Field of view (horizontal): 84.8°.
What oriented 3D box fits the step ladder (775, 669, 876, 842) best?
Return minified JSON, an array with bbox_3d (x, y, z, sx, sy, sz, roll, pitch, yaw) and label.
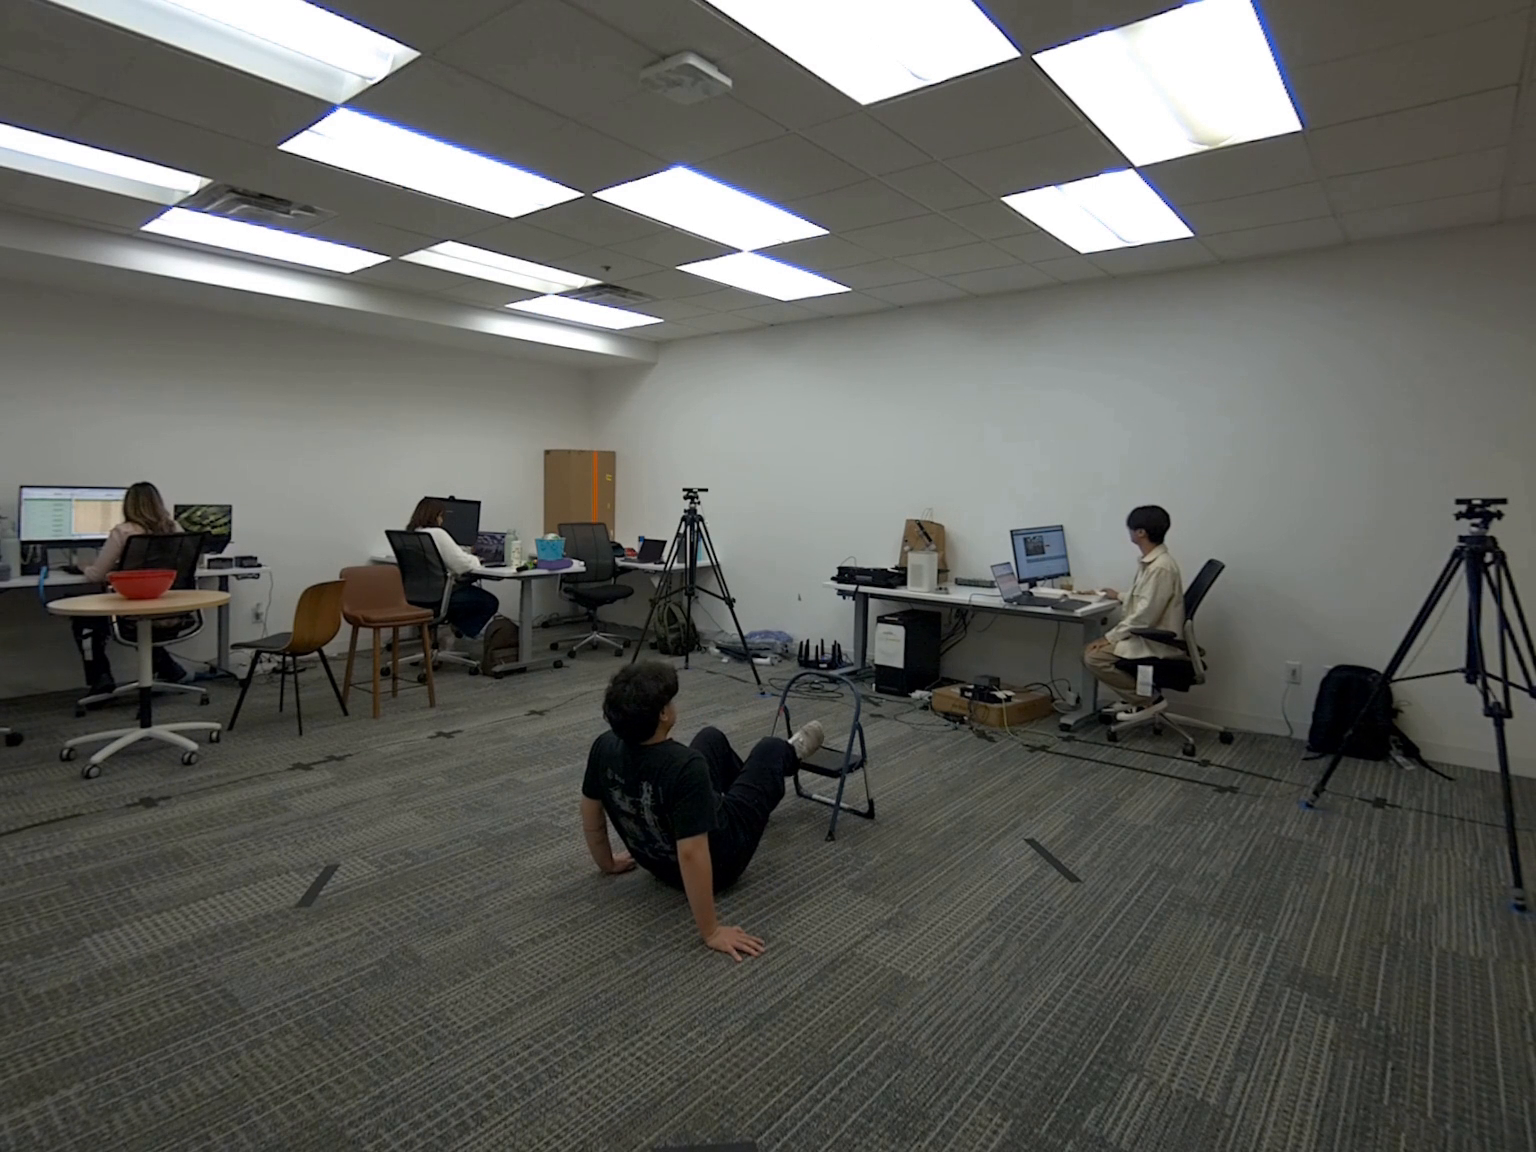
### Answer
[{"bbox_3d":[0.194,0.724,3.638,0.445,0.604,0.339,4,4,40],"label":"step ladder"}]
